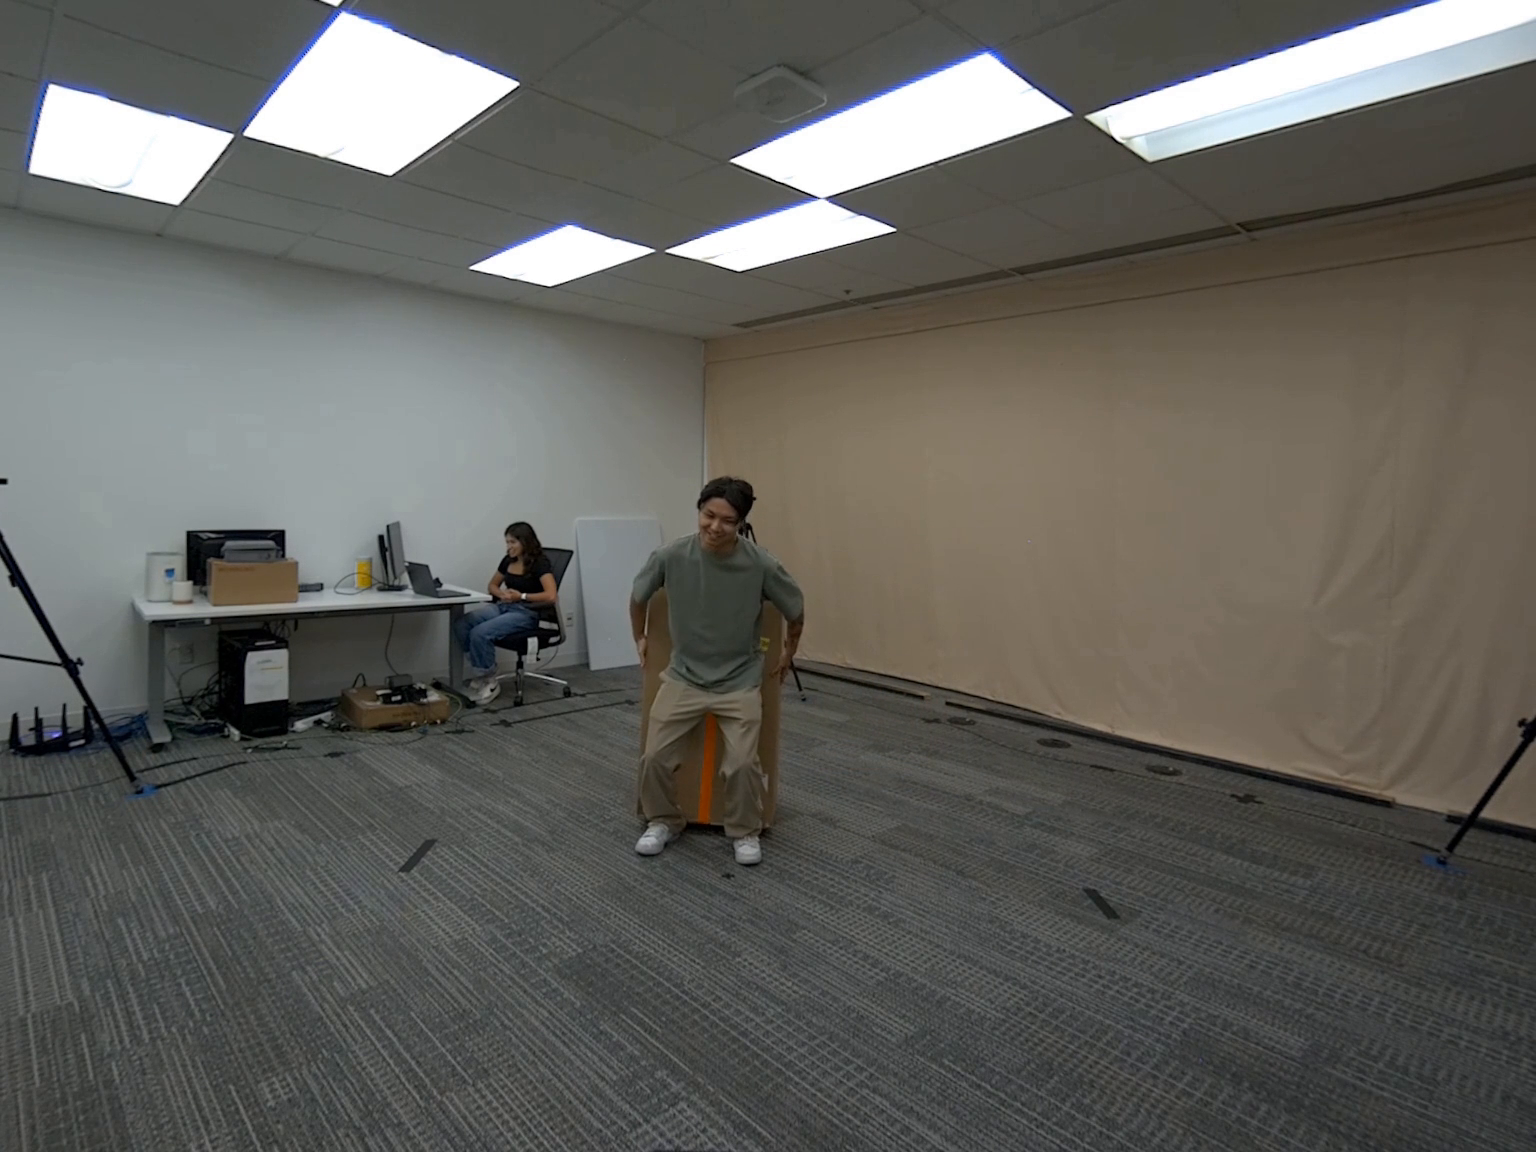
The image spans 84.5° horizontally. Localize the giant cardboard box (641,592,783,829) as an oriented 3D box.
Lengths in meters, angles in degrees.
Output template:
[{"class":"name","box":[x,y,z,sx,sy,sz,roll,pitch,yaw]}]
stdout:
[{"class":"giant cardboard box","box":[-0.243,0.528,3.722,0.580,1.028,0.423,3,-4,4]}]
